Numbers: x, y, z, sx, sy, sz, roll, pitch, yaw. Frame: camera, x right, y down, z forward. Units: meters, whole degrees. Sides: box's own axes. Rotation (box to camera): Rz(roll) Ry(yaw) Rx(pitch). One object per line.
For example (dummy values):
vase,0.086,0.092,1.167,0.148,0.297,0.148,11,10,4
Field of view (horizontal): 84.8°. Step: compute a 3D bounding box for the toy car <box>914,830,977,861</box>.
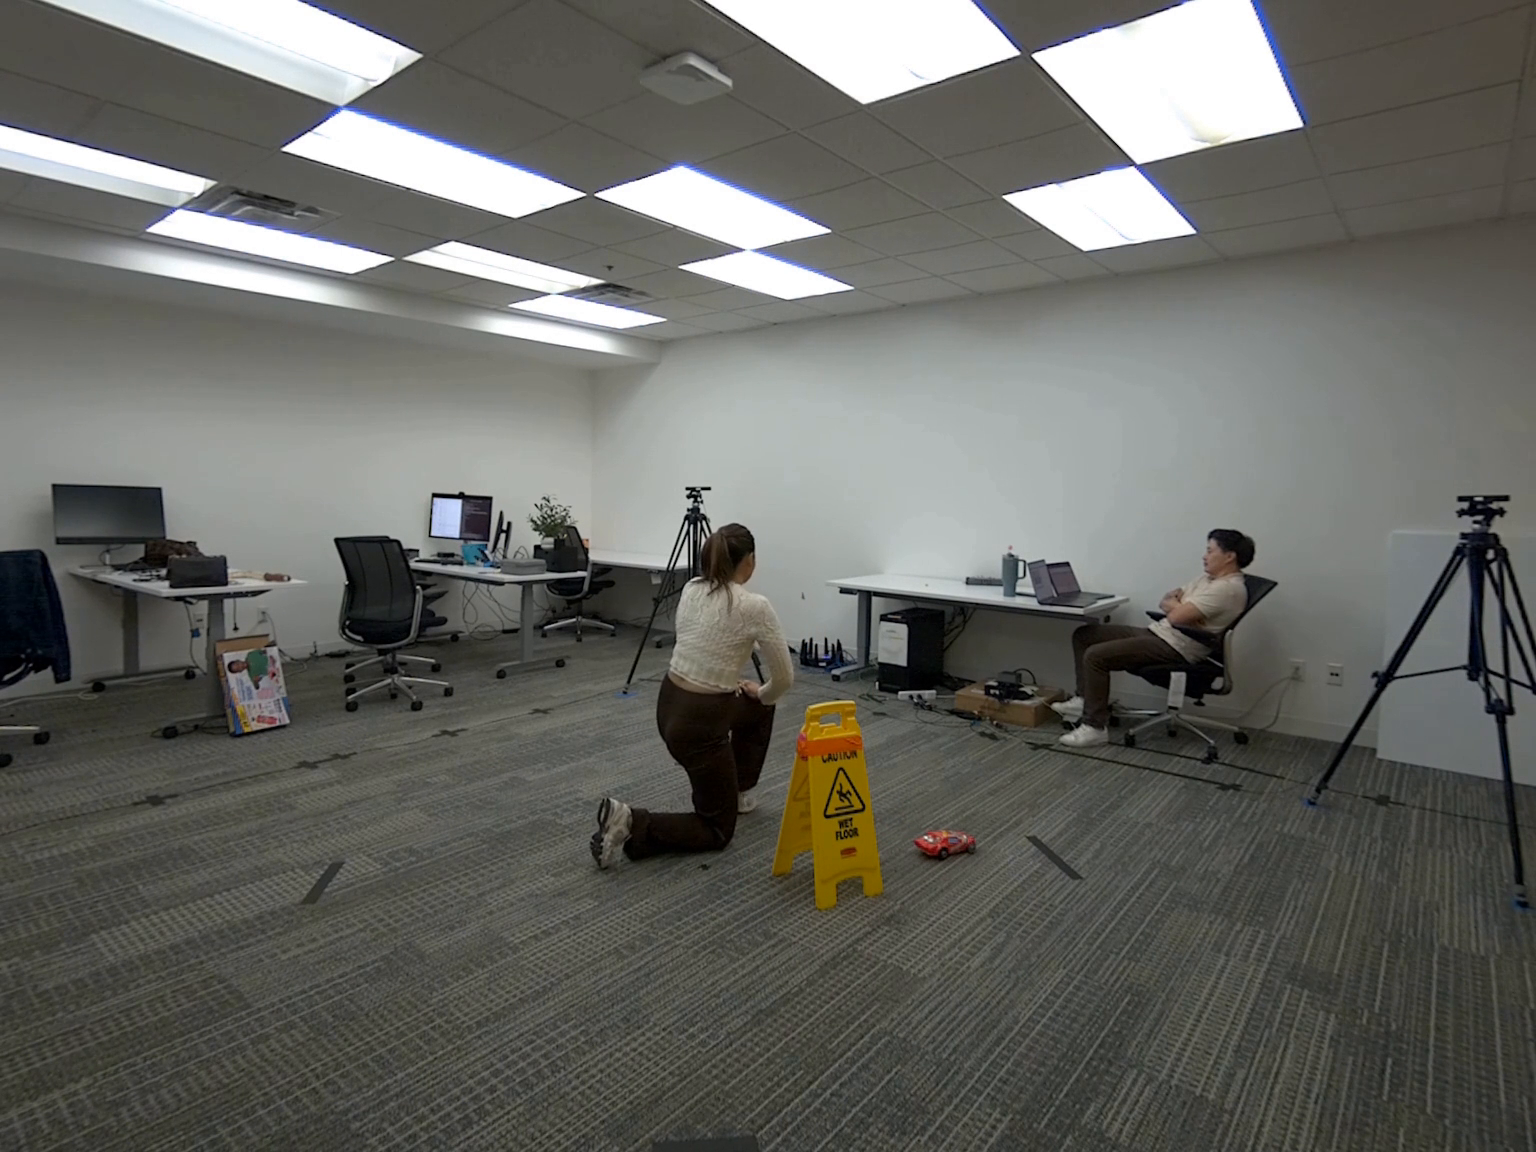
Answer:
toy car,0.683,1.037,3.293,0.247,0.083,0.134,11,1,-27
